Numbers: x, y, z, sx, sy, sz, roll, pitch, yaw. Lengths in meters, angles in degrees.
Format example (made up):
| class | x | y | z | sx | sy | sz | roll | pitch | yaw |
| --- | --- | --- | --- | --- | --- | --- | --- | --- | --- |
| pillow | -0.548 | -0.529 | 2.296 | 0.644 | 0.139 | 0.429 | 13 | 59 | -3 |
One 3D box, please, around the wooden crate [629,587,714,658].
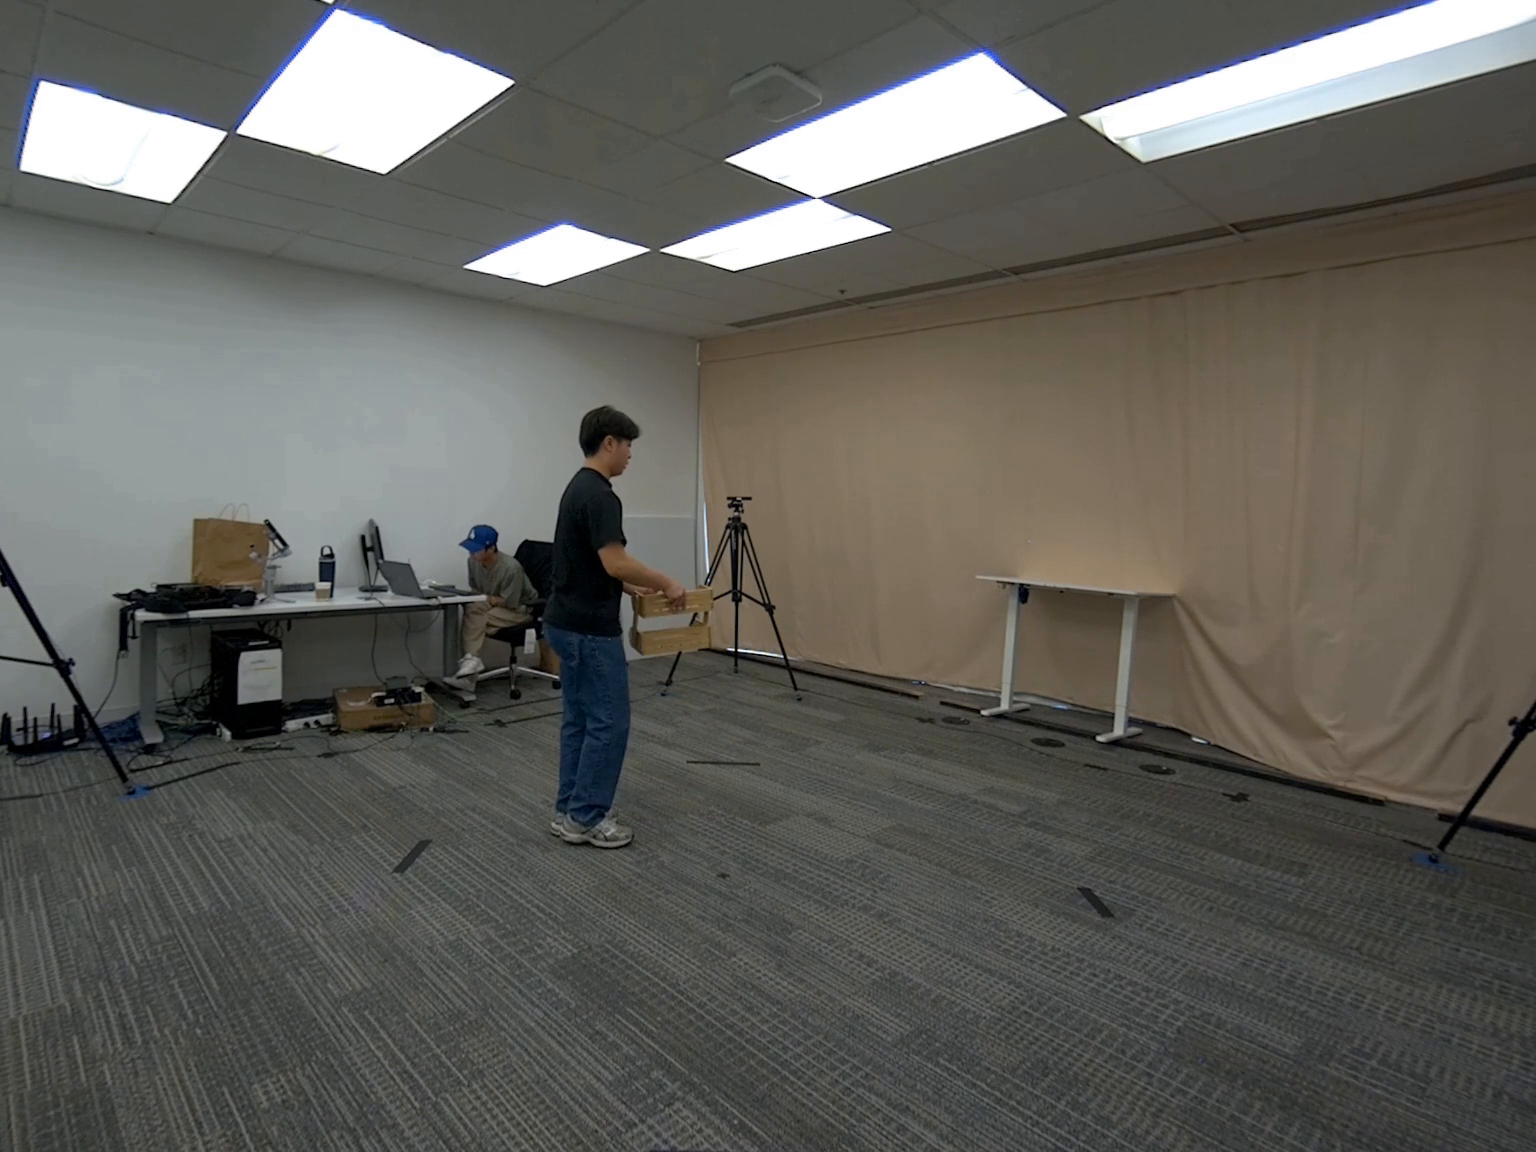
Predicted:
| class | x | y | z | sx | sy | sz | roll | pitch | yaw |
| --- | --- | --- | --- | --- | --- | --- | --- | --- | --- |
| wooden crate | -0.424 | 0.175 | 3.600 | 0.320 | 0.271 | 0.308 | -6 | 9 | -21 |
